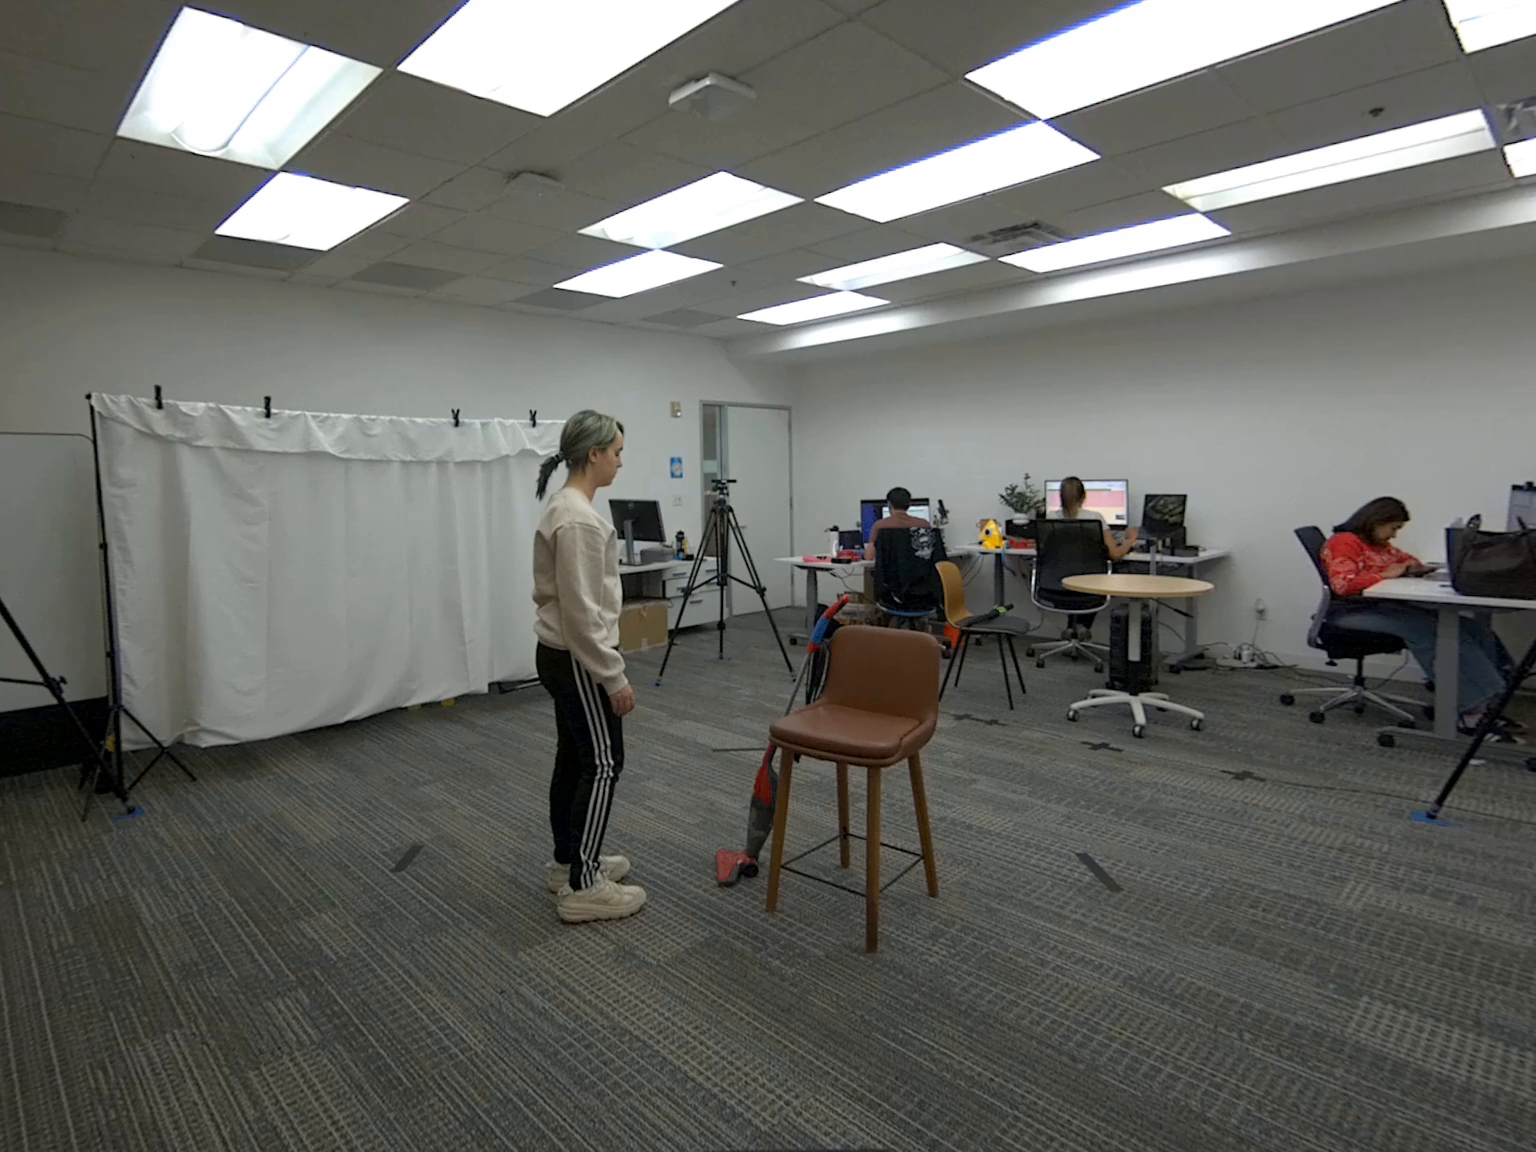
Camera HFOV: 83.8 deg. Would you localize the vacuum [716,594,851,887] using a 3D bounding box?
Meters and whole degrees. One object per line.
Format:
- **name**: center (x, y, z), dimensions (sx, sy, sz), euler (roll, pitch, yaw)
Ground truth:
- **vacuum**: center (0.082, 0.564, 3.037), dimensions (0.142, 1.048, 0.257), euler (21, 2, -14)
